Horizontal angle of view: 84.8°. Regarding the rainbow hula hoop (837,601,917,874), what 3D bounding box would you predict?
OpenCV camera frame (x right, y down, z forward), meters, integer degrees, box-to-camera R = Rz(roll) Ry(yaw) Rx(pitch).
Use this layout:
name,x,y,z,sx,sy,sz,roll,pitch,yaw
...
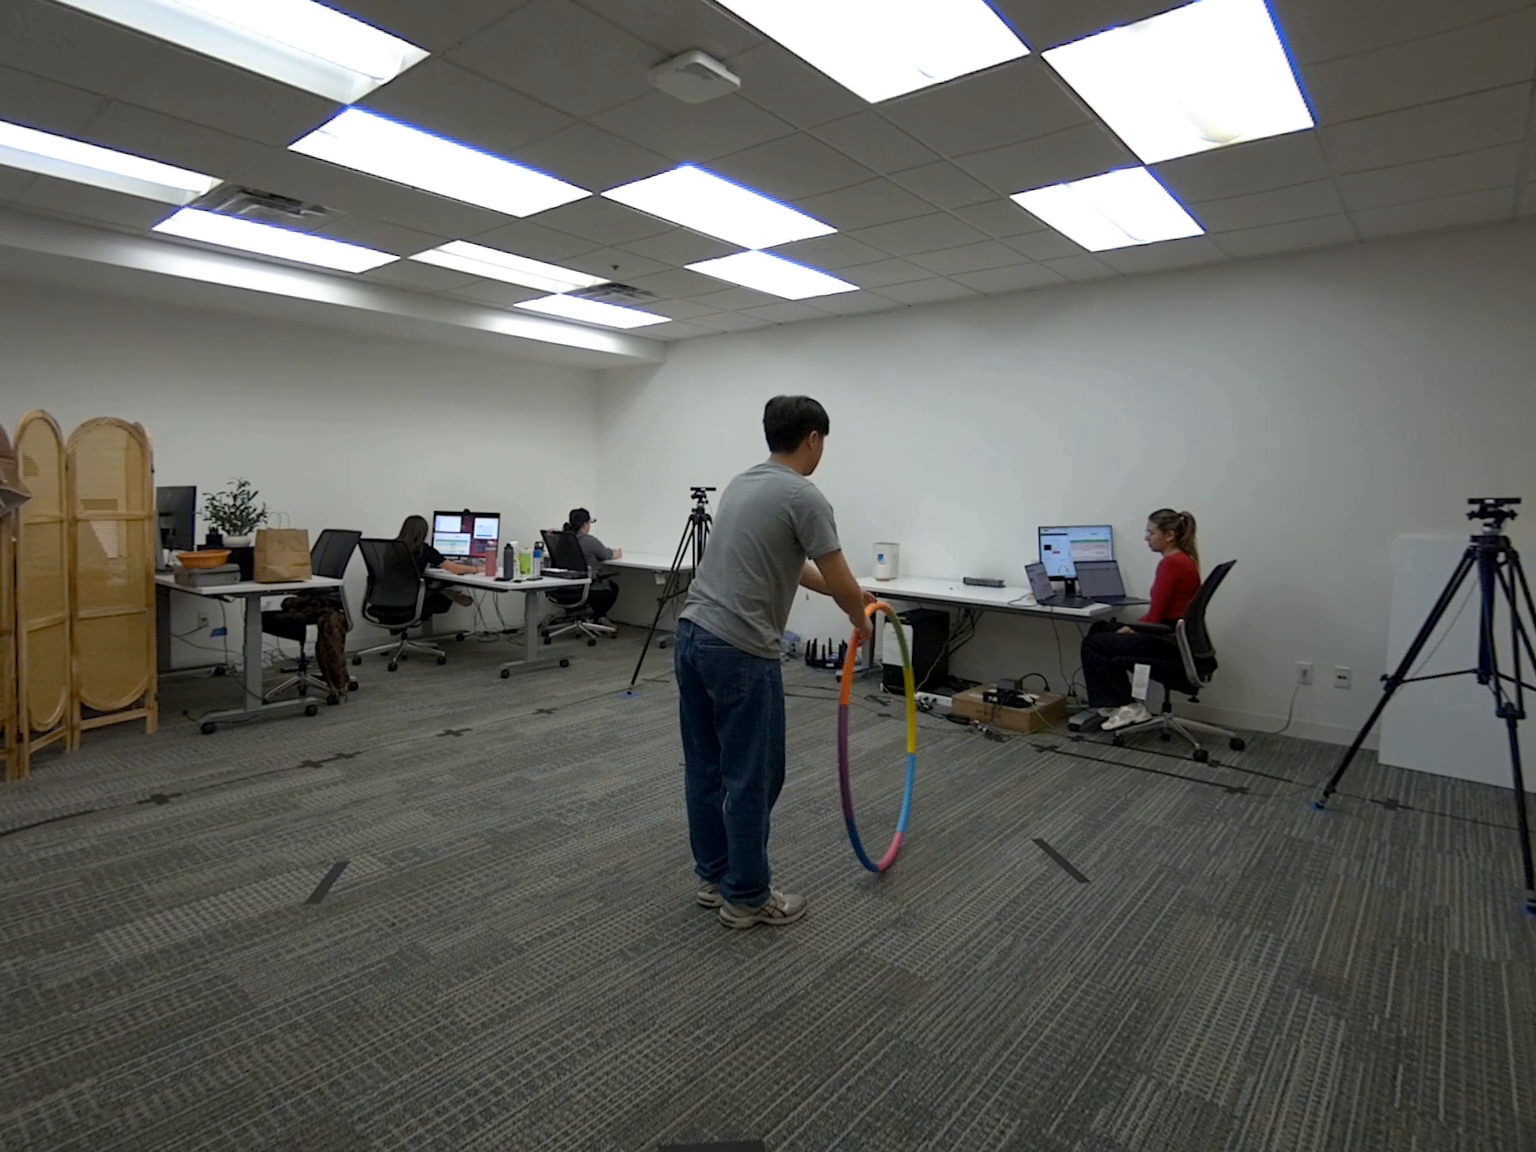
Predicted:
name,x,y,z,sx,sy,sz,roll,pitch,yaw
rainbow hula hoop,0.418,0.589,3.183,0.036,0.978,0.958,-4,2,23
